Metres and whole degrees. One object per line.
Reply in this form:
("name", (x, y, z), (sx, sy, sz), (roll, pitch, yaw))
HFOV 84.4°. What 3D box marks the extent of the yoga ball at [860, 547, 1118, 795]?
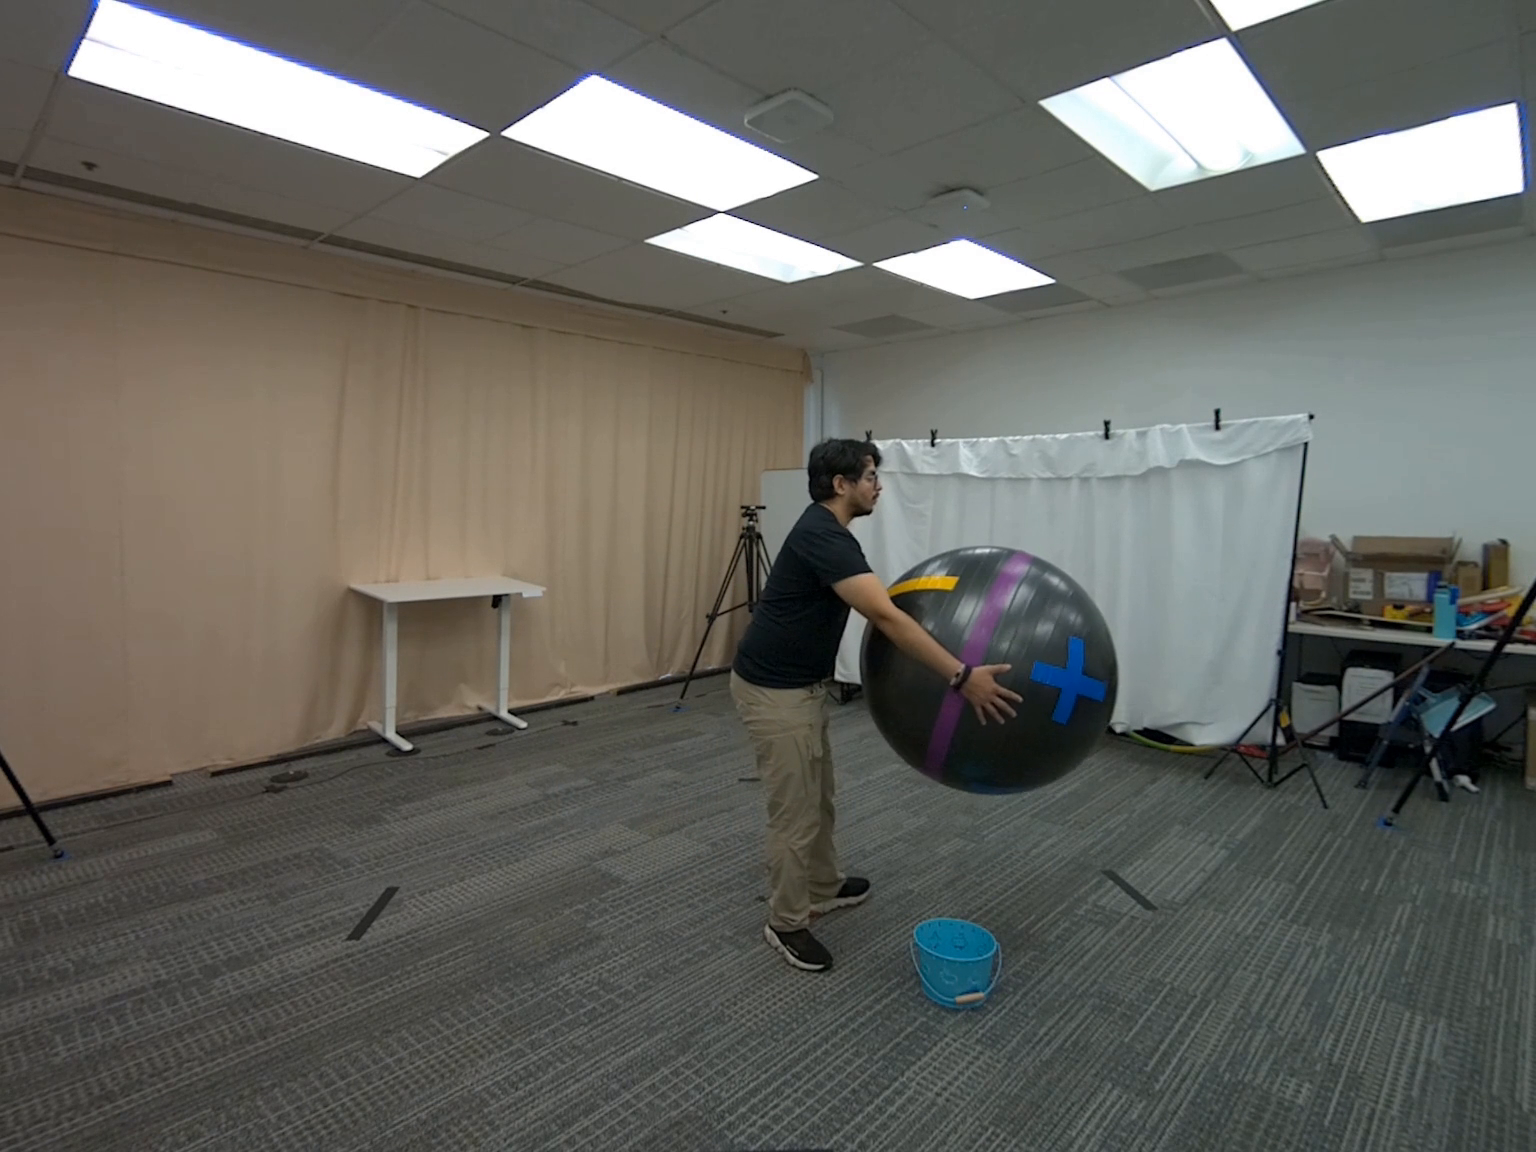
("yoga ball", (0.676, 0.298, 2.605), (0.757, 0.756, 0.760), (0, 4, -2))
